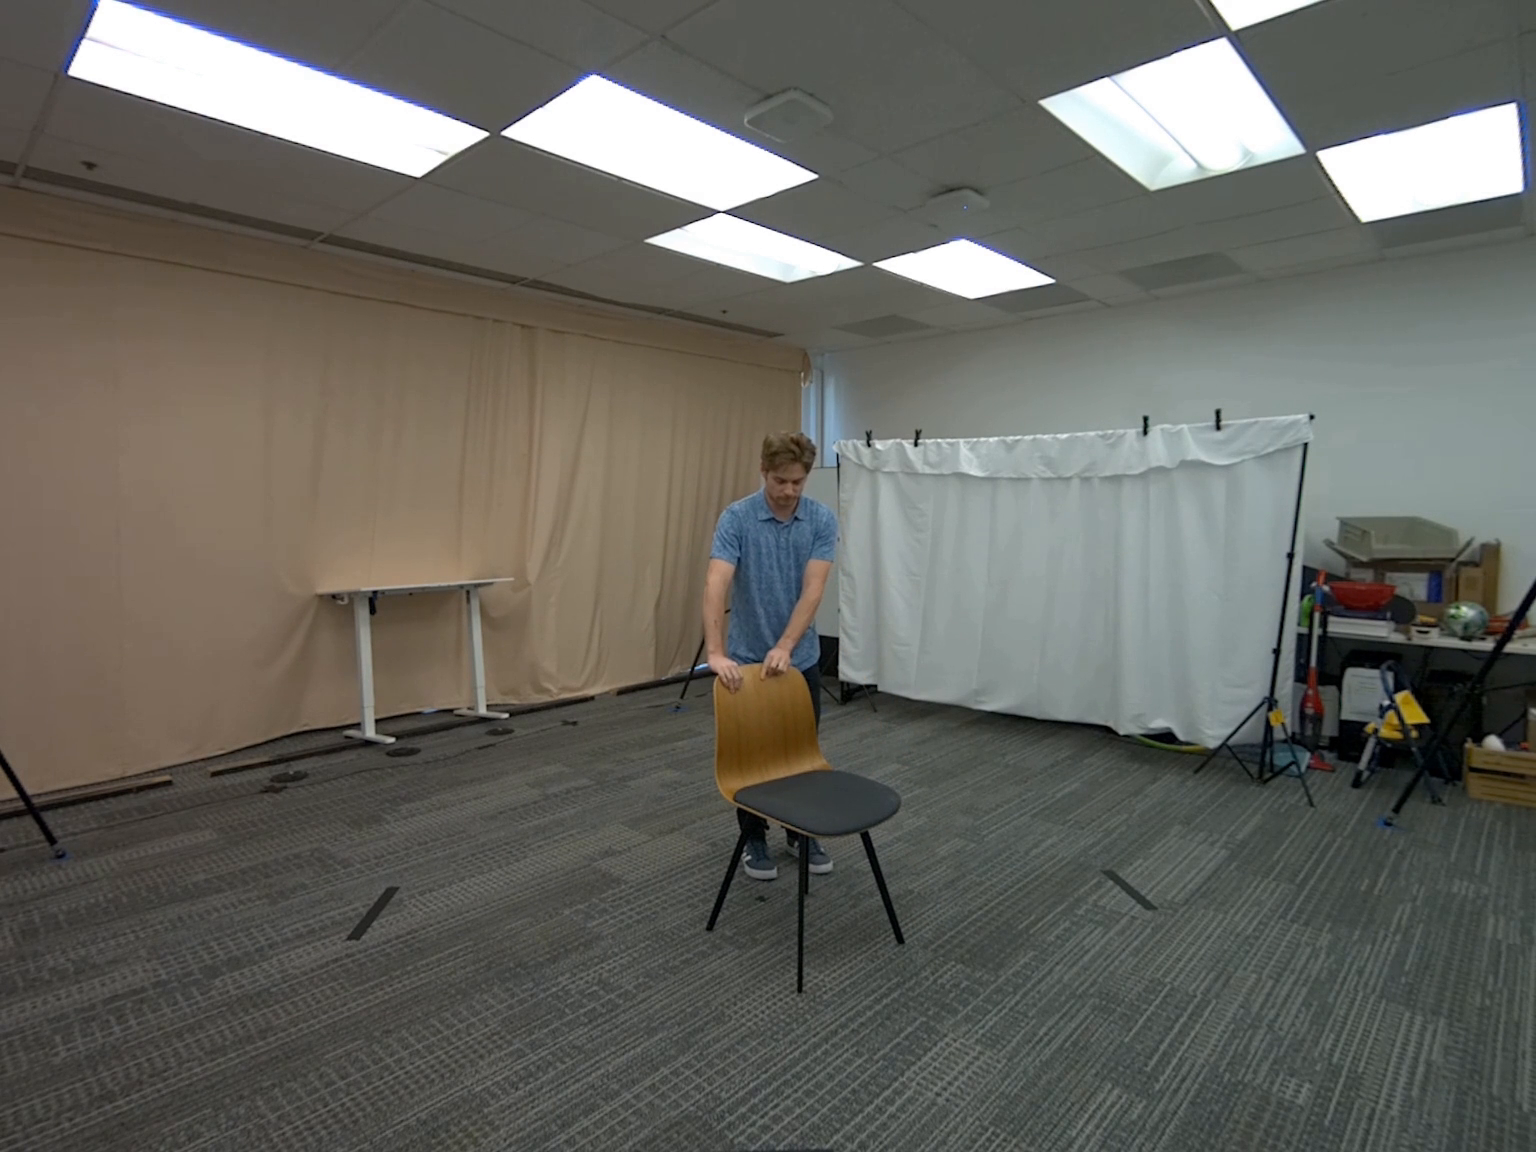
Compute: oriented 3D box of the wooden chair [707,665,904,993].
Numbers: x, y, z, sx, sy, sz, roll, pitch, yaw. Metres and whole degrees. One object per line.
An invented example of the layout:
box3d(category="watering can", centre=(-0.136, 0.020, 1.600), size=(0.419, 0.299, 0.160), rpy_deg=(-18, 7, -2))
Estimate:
box3d(category="wooden chair", centre=(0.120, 0.741, 2.683), size=(0.464, 0.878, 0.539), rpy_deg=(-3, -1, -39))
